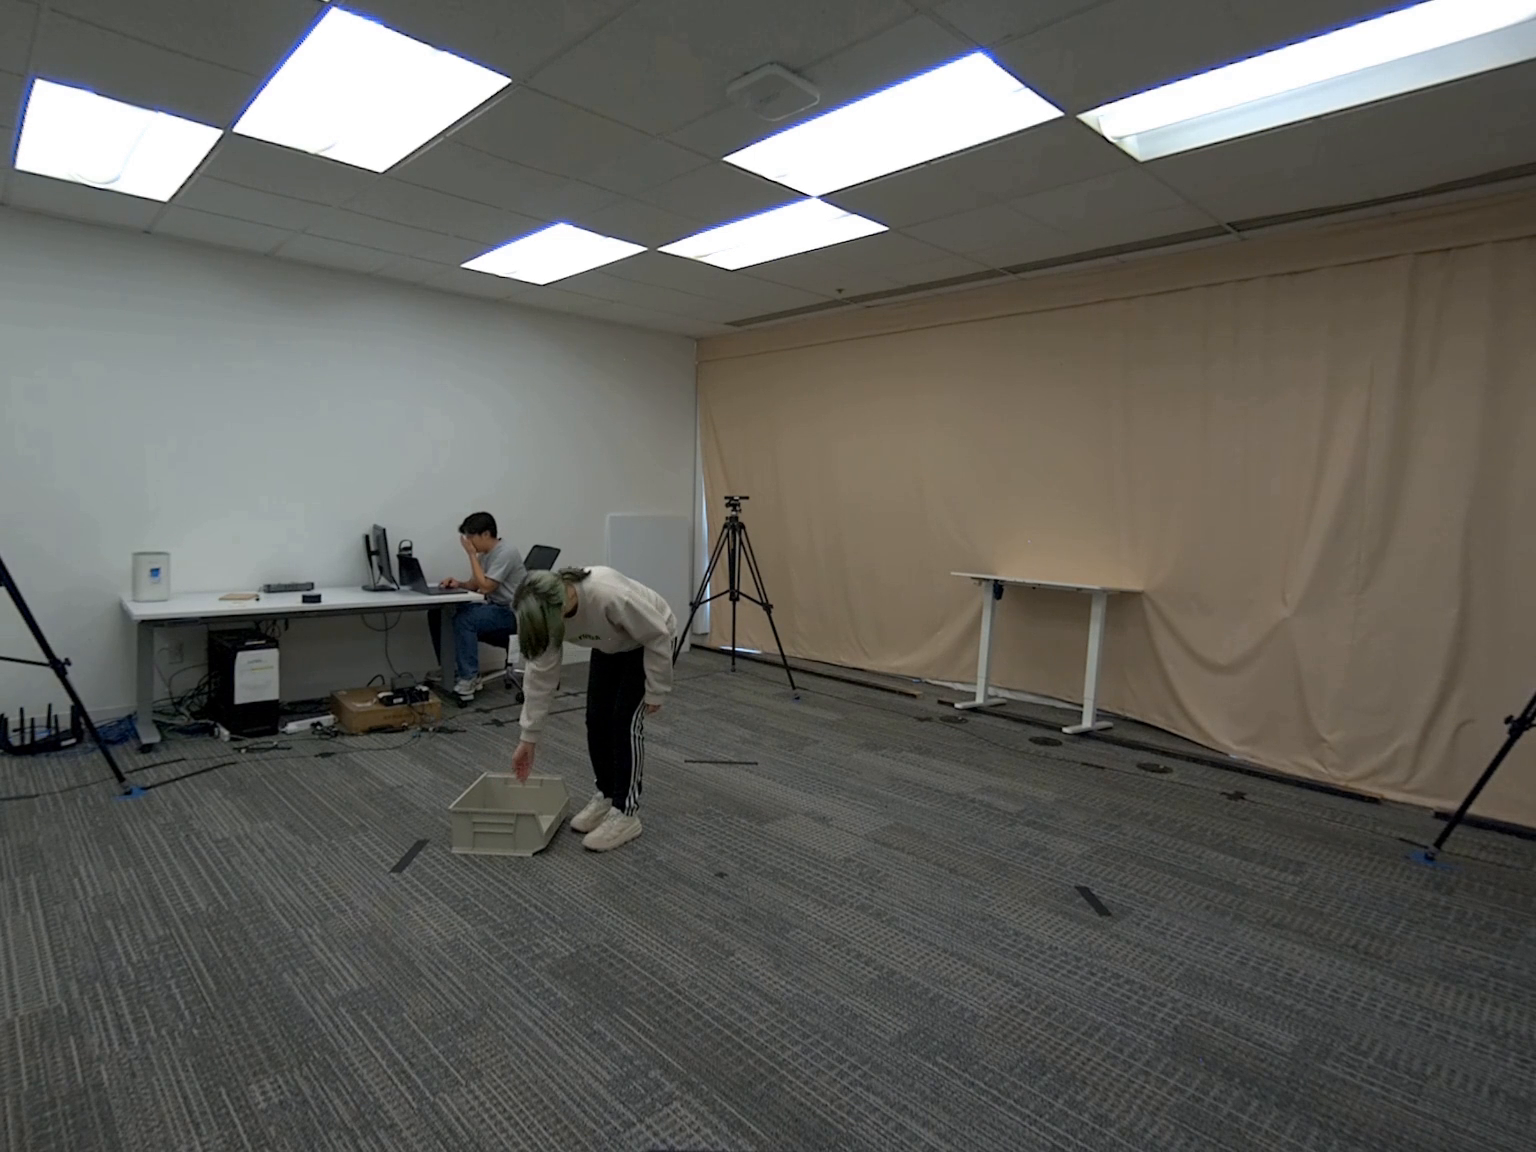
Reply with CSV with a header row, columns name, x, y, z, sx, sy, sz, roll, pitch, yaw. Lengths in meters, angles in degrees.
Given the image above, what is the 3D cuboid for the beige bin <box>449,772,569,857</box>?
name,x,y,z,sx,sy,sz,roll,pitch,yaw
beige bin,-1.039,0.961,3.429,0.378,0.188,0.423,1,6,0
